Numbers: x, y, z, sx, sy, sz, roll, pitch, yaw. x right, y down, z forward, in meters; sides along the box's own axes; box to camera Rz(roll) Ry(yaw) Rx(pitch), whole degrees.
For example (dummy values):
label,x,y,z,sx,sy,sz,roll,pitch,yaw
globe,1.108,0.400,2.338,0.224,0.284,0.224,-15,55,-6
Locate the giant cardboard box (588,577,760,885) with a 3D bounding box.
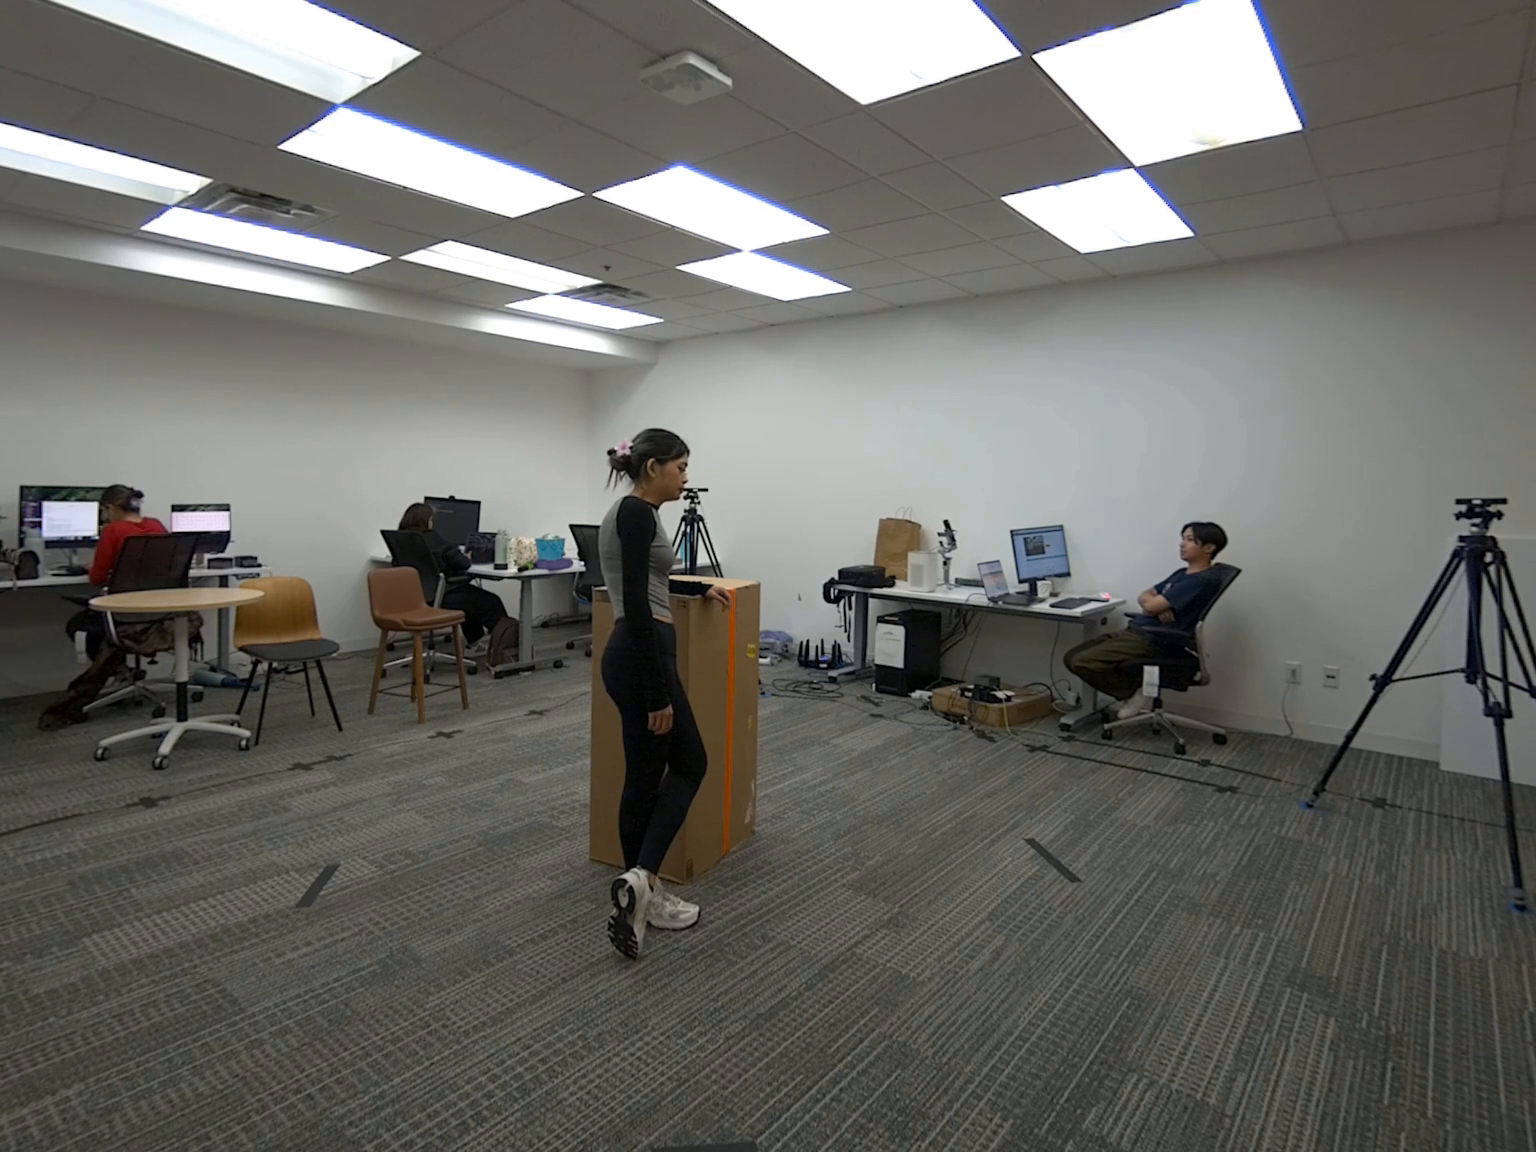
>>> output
label,x,y,z,sx,sy,sz,roll,pitch,yaw
giant cardboard box,-0.356,0.540,3.304,0.438,1.023,0.564,3,4,27
